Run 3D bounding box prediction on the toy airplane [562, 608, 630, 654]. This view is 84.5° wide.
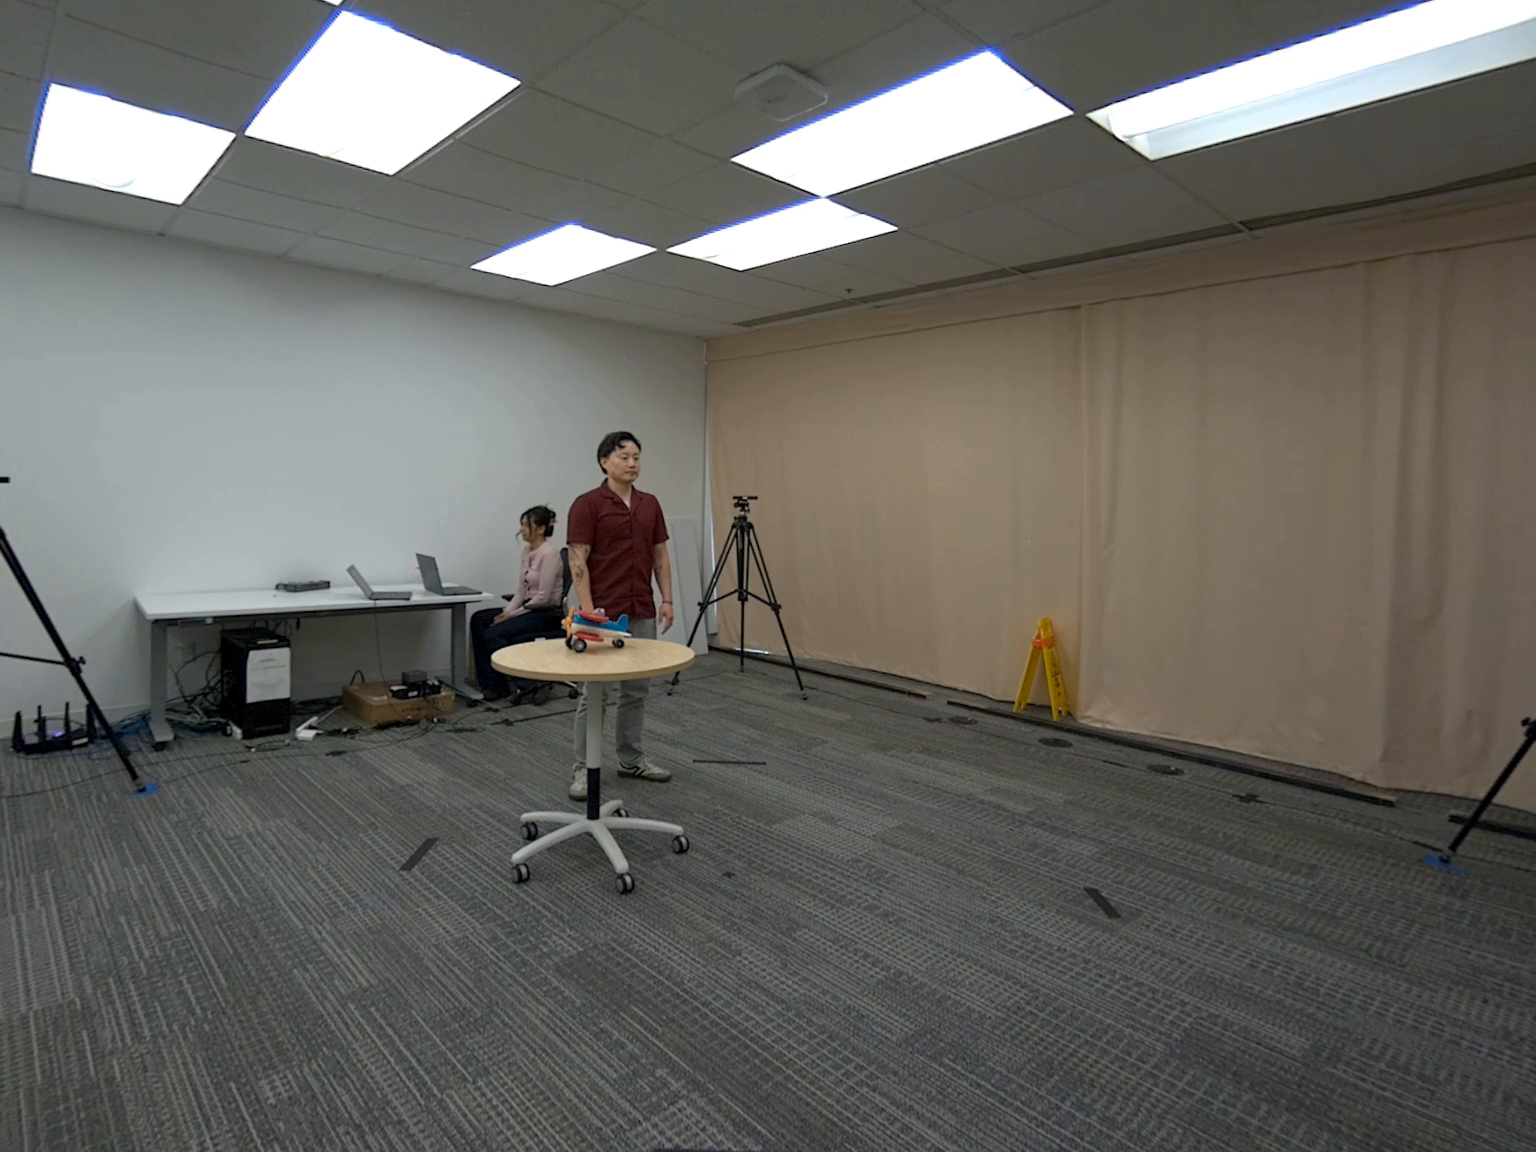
[{"bbox_3d":[-0.700,0.212,3.322,0.257,0.156,0.254,2,5,33],"label":"toy airplane"}]
